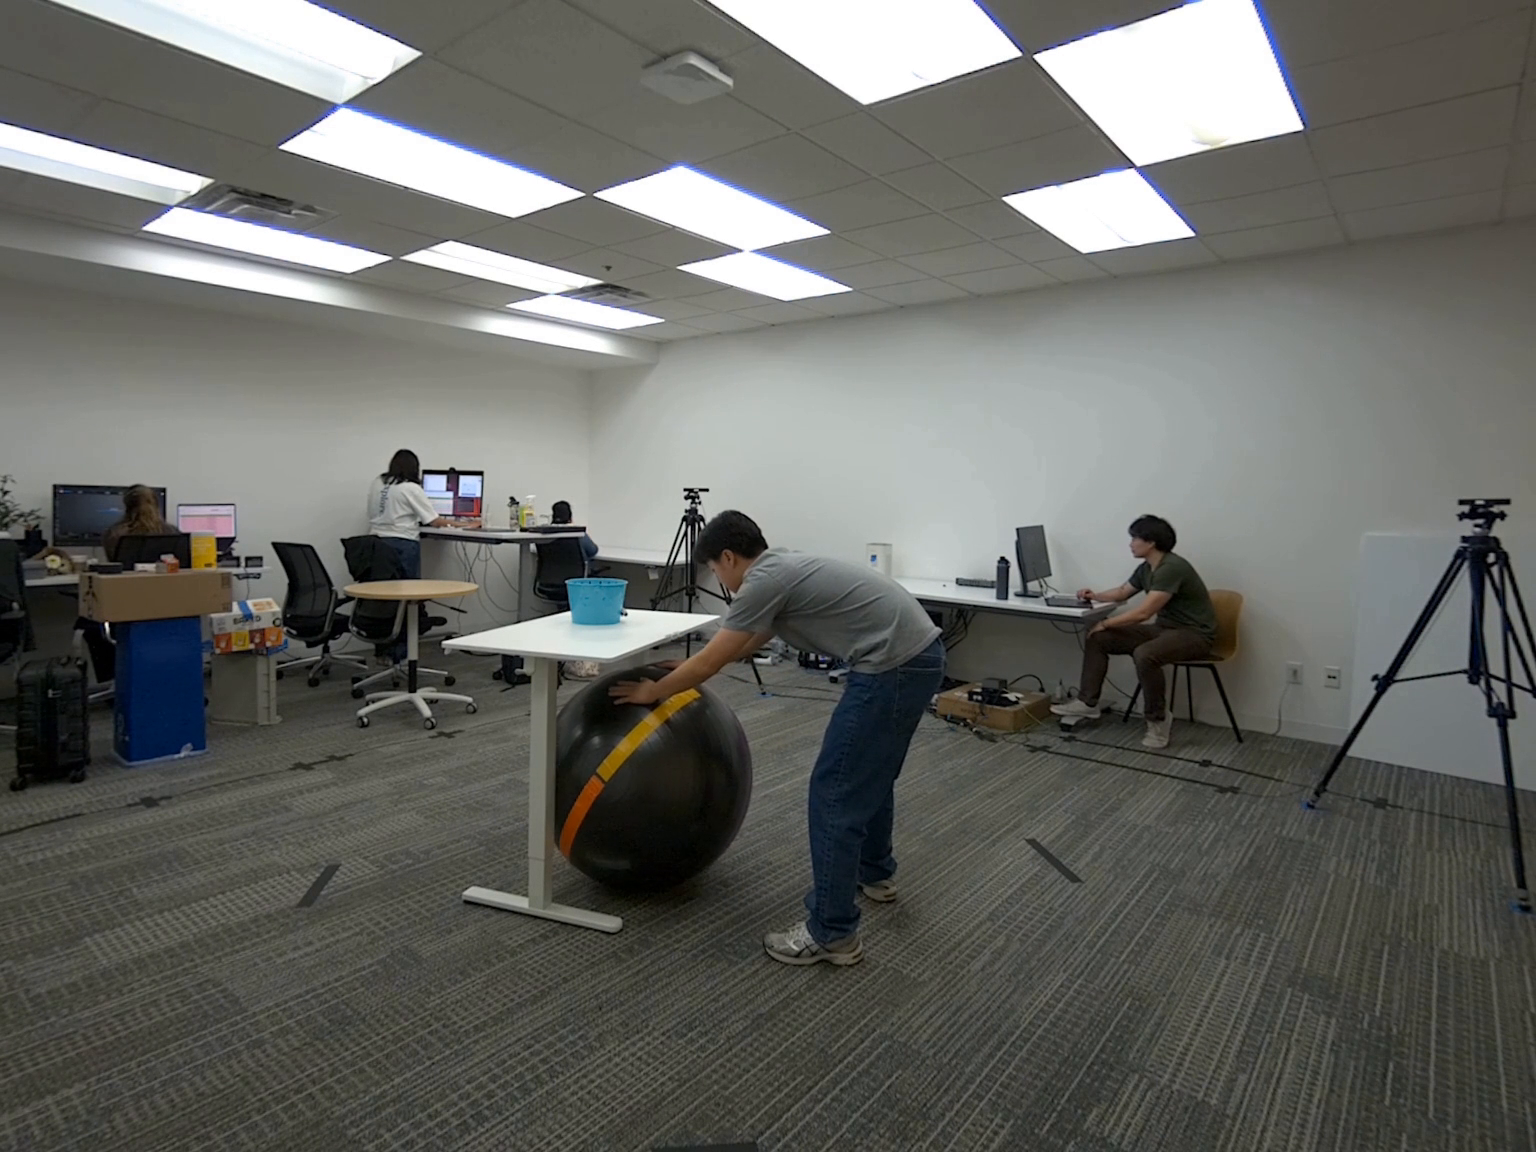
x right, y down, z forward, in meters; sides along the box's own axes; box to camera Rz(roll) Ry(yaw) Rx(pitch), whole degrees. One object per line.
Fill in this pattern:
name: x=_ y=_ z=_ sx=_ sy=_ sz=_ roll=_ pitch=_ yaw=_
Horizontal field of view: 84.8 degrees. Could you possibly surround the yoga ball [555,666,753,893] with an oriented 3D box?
yoga ball: x=-0.447 y=0.707 z=3.009 sx=0.757 sy=0.755 sz=0.762 roll=1 pitch=4 yaw=-2
